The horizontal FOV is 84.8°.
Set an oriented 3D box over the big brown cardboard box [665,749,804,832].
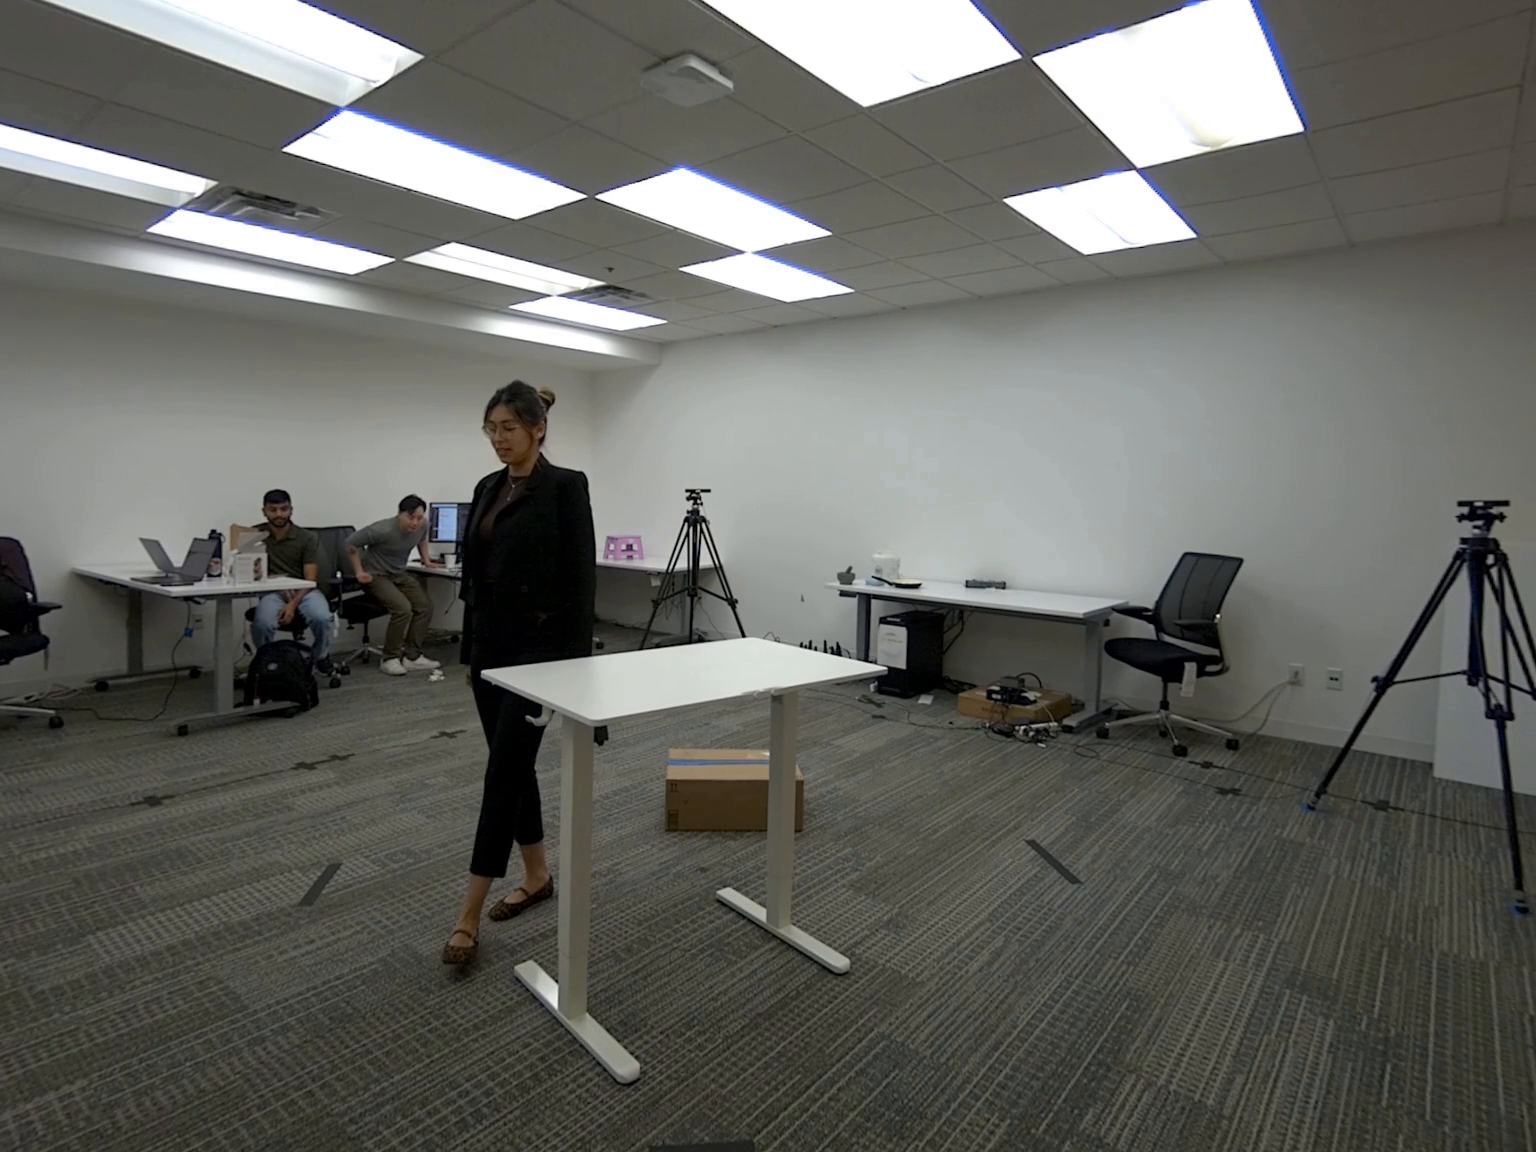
[{"bbox_3d":[-0.162,0.908,3.669,0.587,0.232,0.421,0,5,-4],"label":"big brown cardboard box"}]
